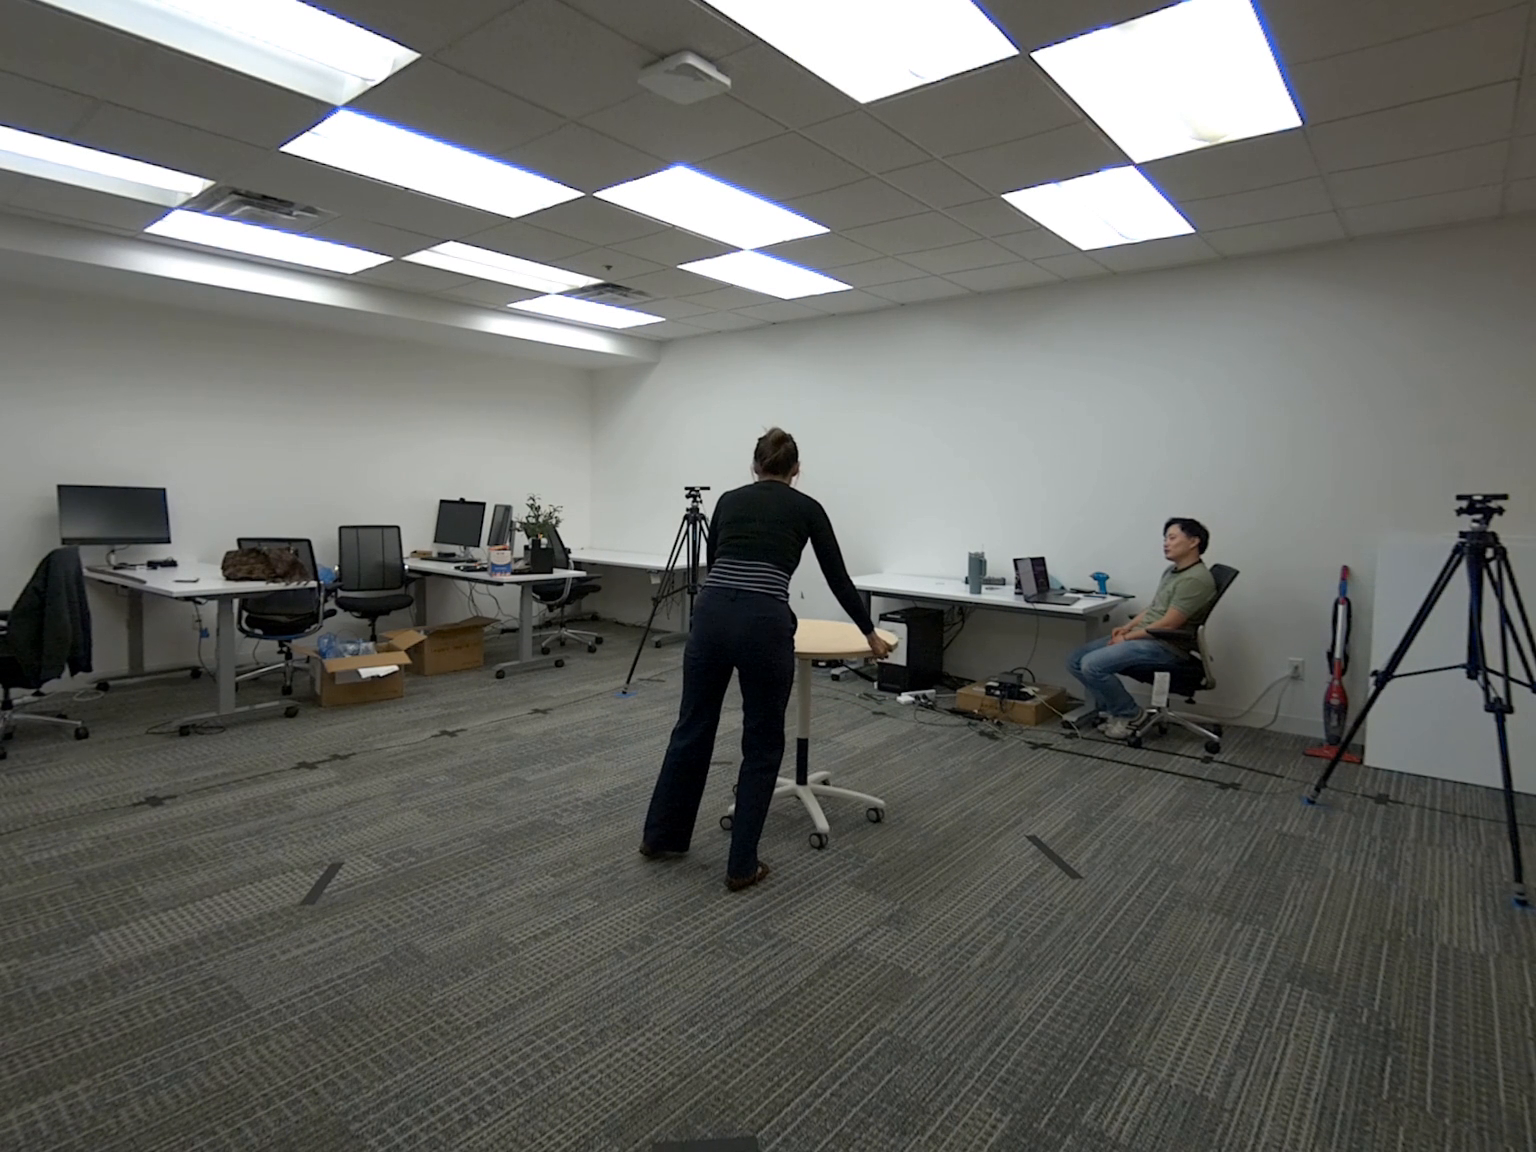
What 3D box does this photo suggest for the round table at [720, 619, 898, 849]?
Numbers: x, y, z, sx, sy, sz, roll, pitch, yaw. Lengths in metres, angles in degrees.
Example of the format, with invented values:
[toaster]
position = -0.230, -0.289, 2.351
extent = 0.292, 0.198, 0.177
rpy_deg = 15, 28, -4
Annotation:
[round table]
position = 0.132, 0.632, 3.599
extent = 0.763, 0.791, 0.768
rpy_deg = 1, 4, -2
